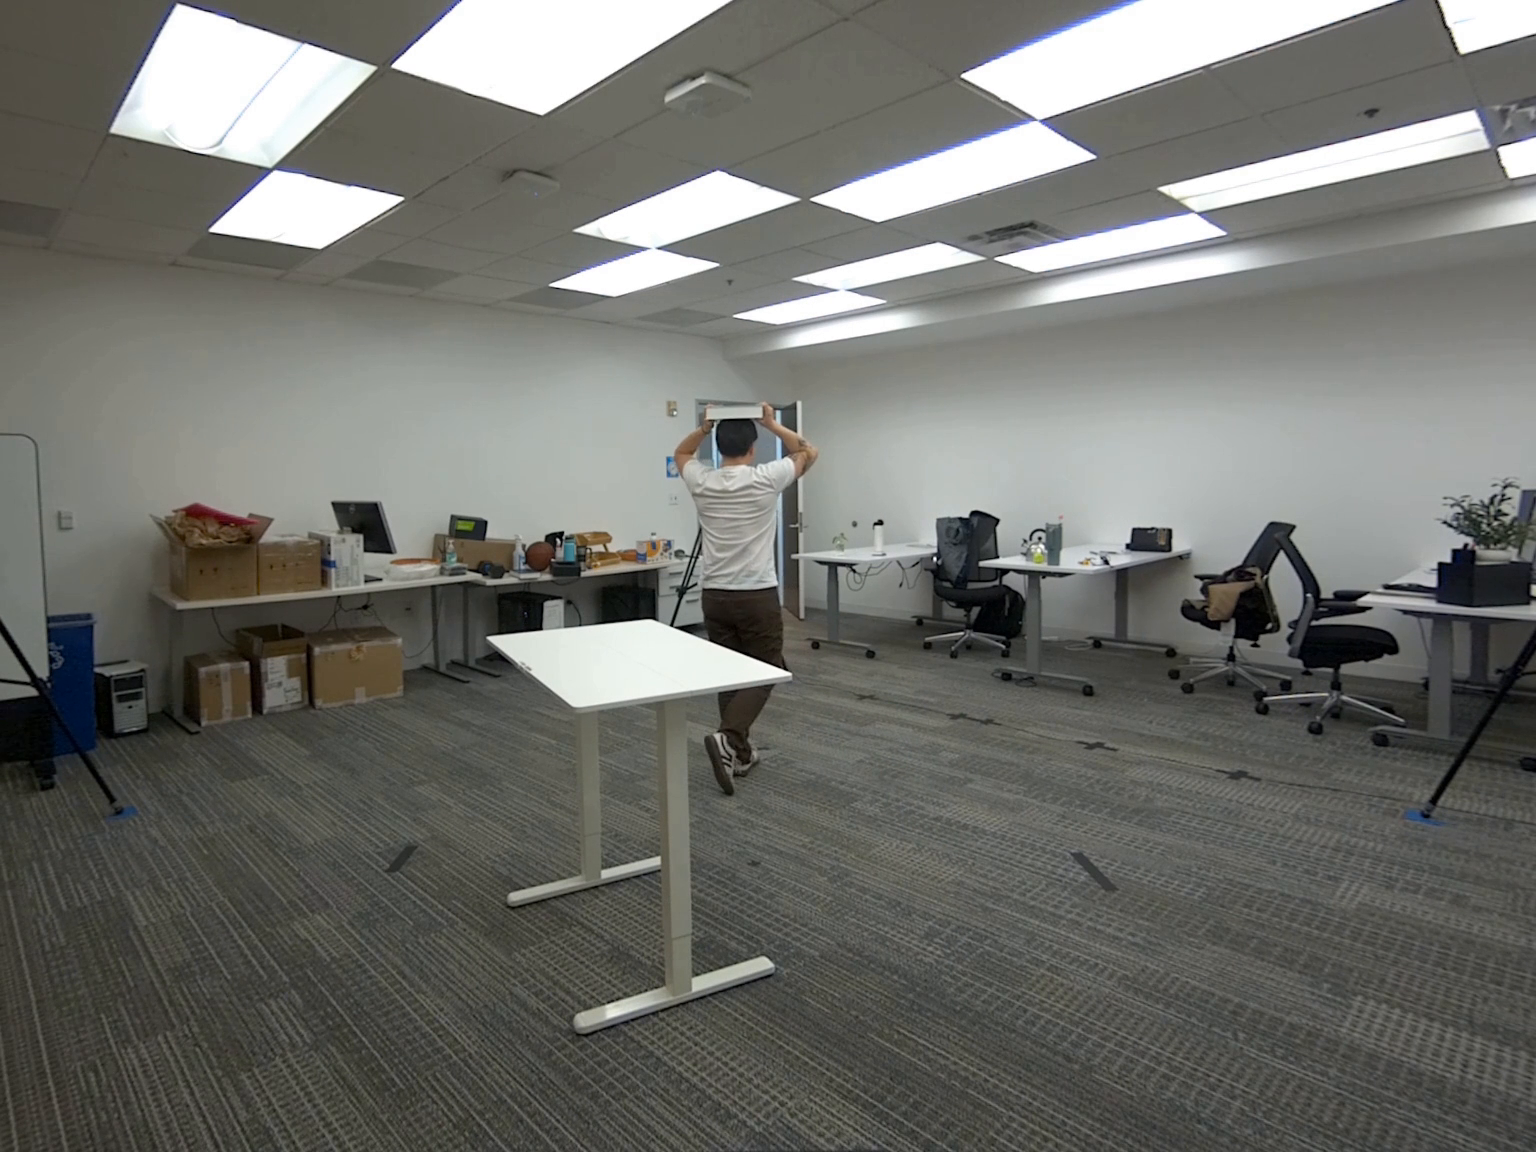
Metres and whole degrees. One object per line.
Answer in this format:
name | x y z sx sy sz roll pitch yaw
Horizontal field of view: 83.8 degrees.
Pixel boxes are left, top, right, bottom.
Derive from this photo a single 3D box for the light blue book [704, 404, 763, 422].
light blue book | -0.154 -0.760 3.989 0.264 0.059 0.190 0 6 11
